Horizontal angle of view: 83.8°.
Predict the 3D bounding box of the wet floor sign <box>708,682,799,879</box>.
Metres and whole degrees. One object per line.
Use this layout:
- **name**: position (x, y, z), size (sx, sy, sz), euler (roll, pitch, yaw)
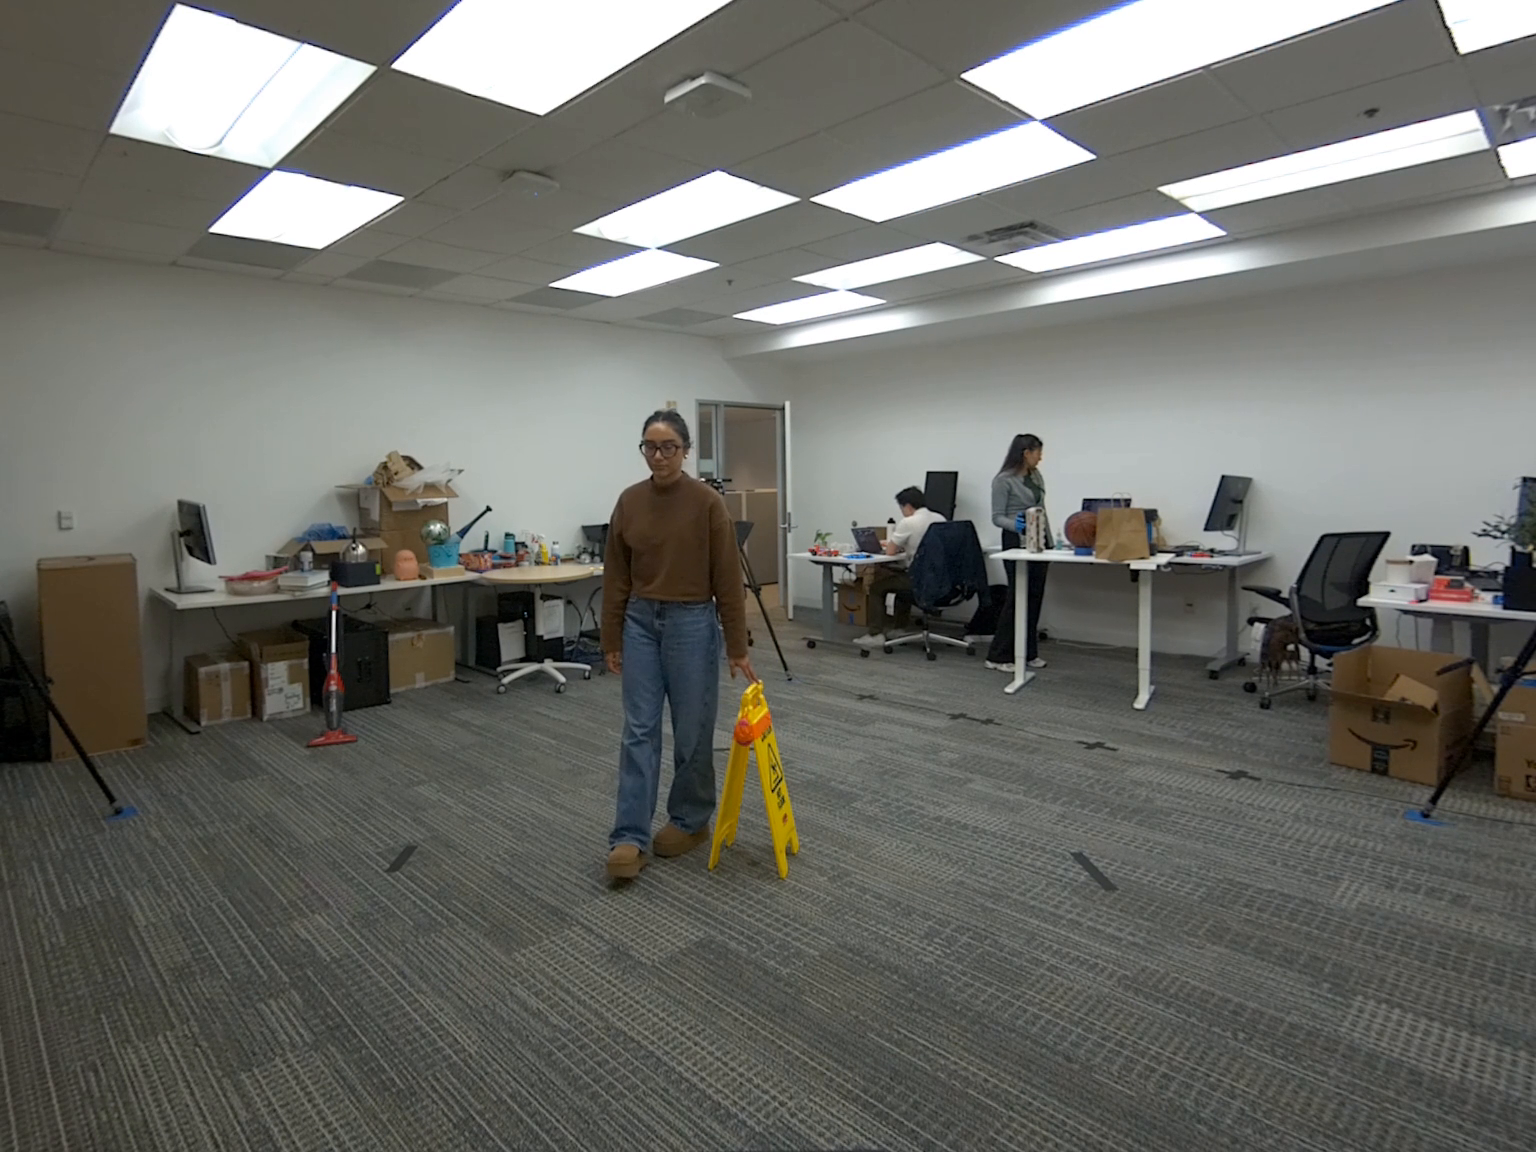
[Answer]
- **wet floor sign**: position (-0.053, 0.715, 3.126), size (0.294, 0.644, 0.279), euler (0, 3, 15)
